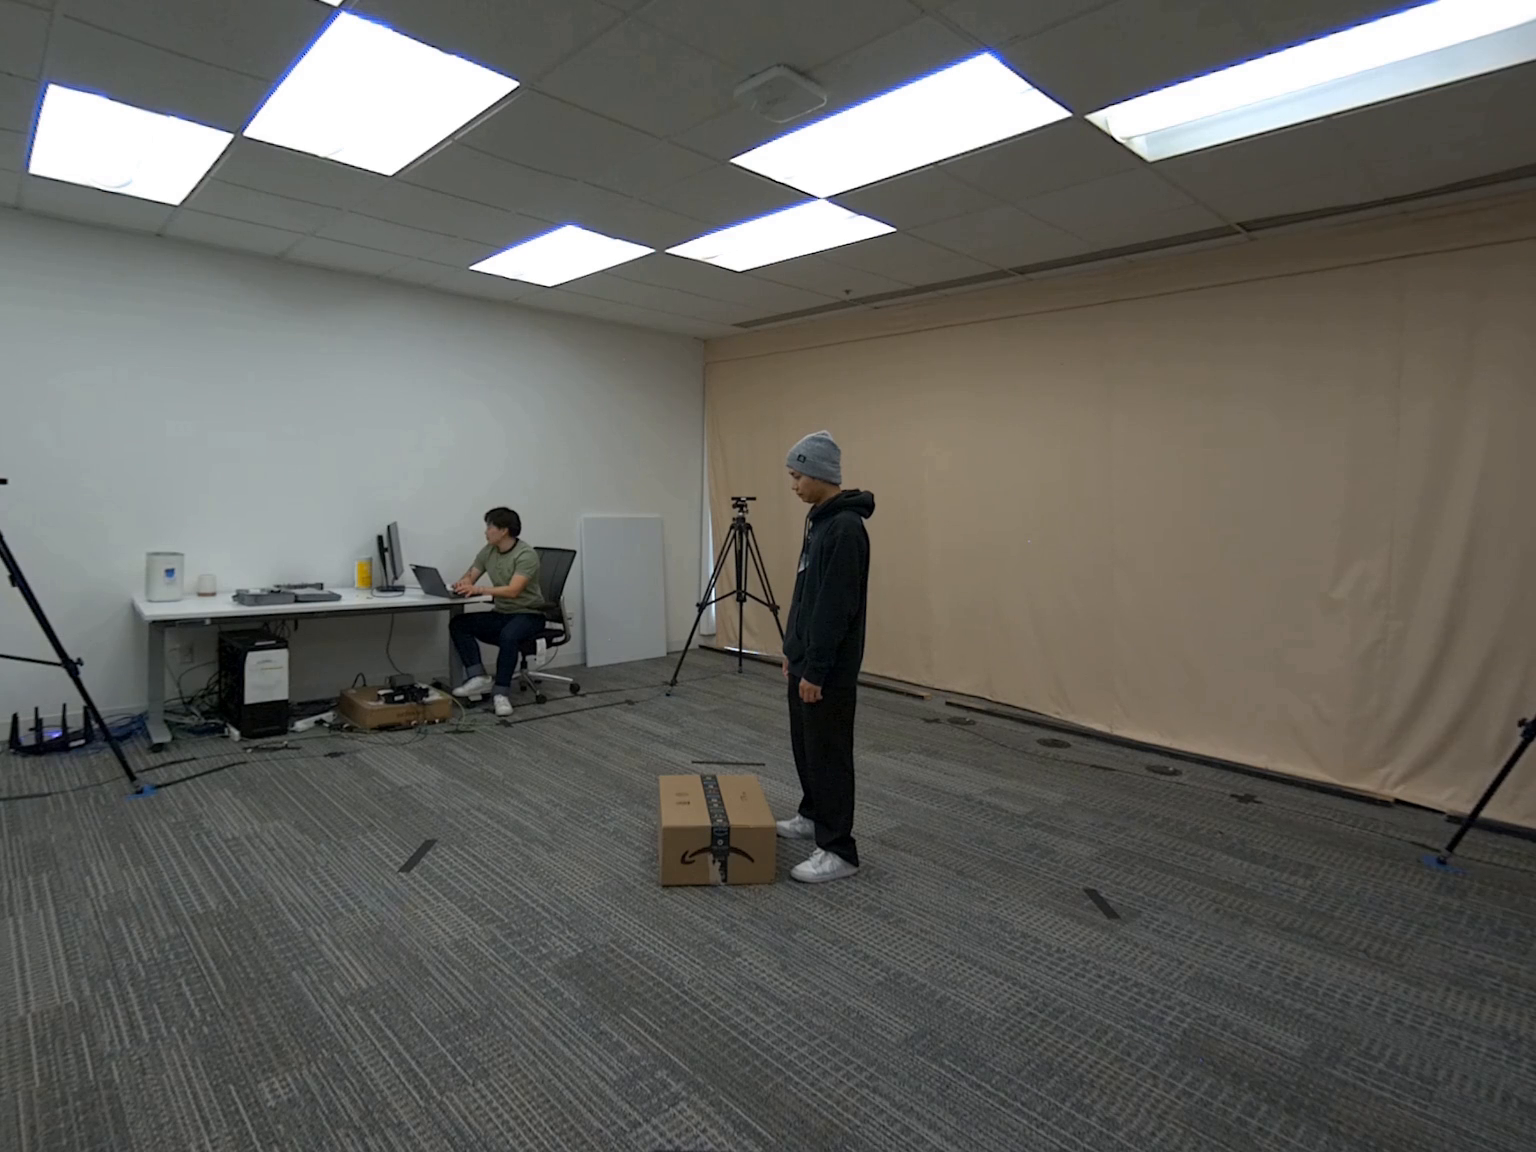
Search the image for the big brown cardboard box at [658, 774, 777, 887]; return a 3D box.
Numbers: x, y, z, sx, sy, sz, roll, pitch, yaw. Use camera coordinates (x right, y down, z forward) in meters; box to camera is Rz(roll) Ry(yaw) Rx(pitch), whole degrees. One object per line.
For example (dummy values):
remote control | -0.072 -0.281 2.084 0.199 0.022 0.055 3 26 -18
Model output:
big brown cardboard box | -0.224 0.977 3.295 0.415 0.232 0.594 1 4 -8
